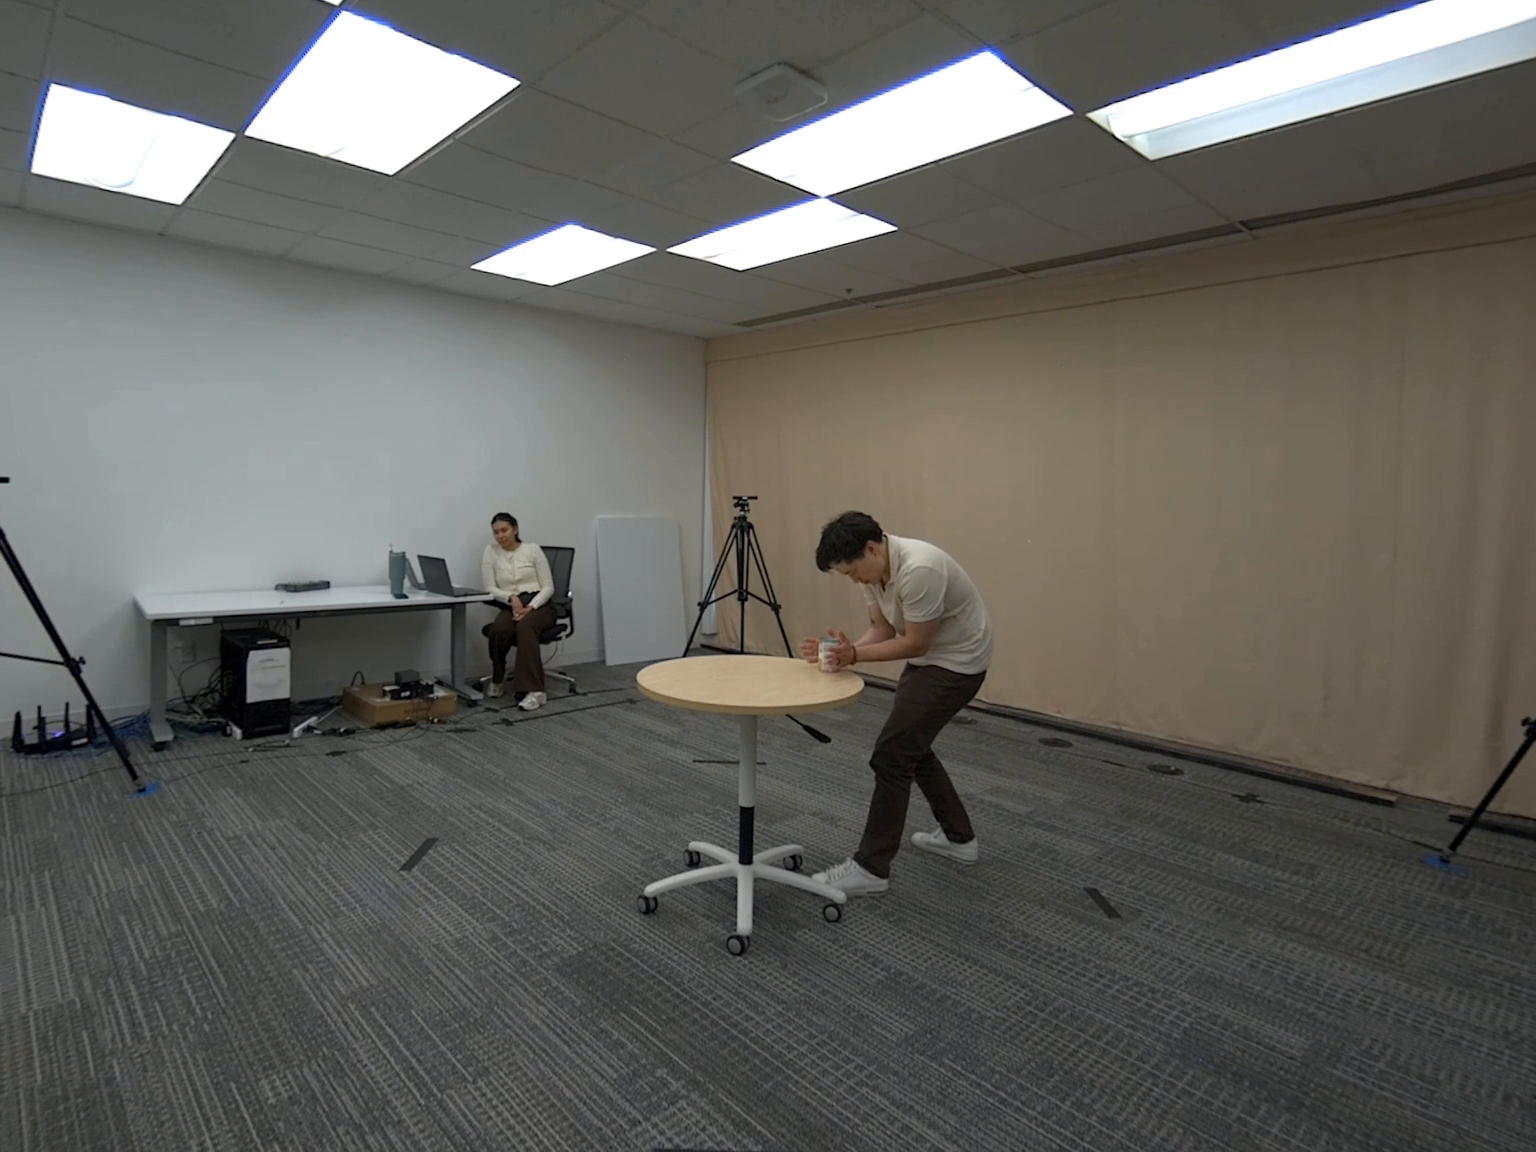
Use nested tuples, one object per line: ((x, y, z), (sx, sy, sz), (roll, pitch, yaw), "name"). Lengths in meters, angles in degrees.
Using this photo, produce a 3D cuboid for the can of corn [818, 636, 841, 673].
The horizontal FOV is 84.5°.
((0.208, 0.282, 2.979), (0.074, 0.111, 0.074), (2, -2, -1), "can of corn")
